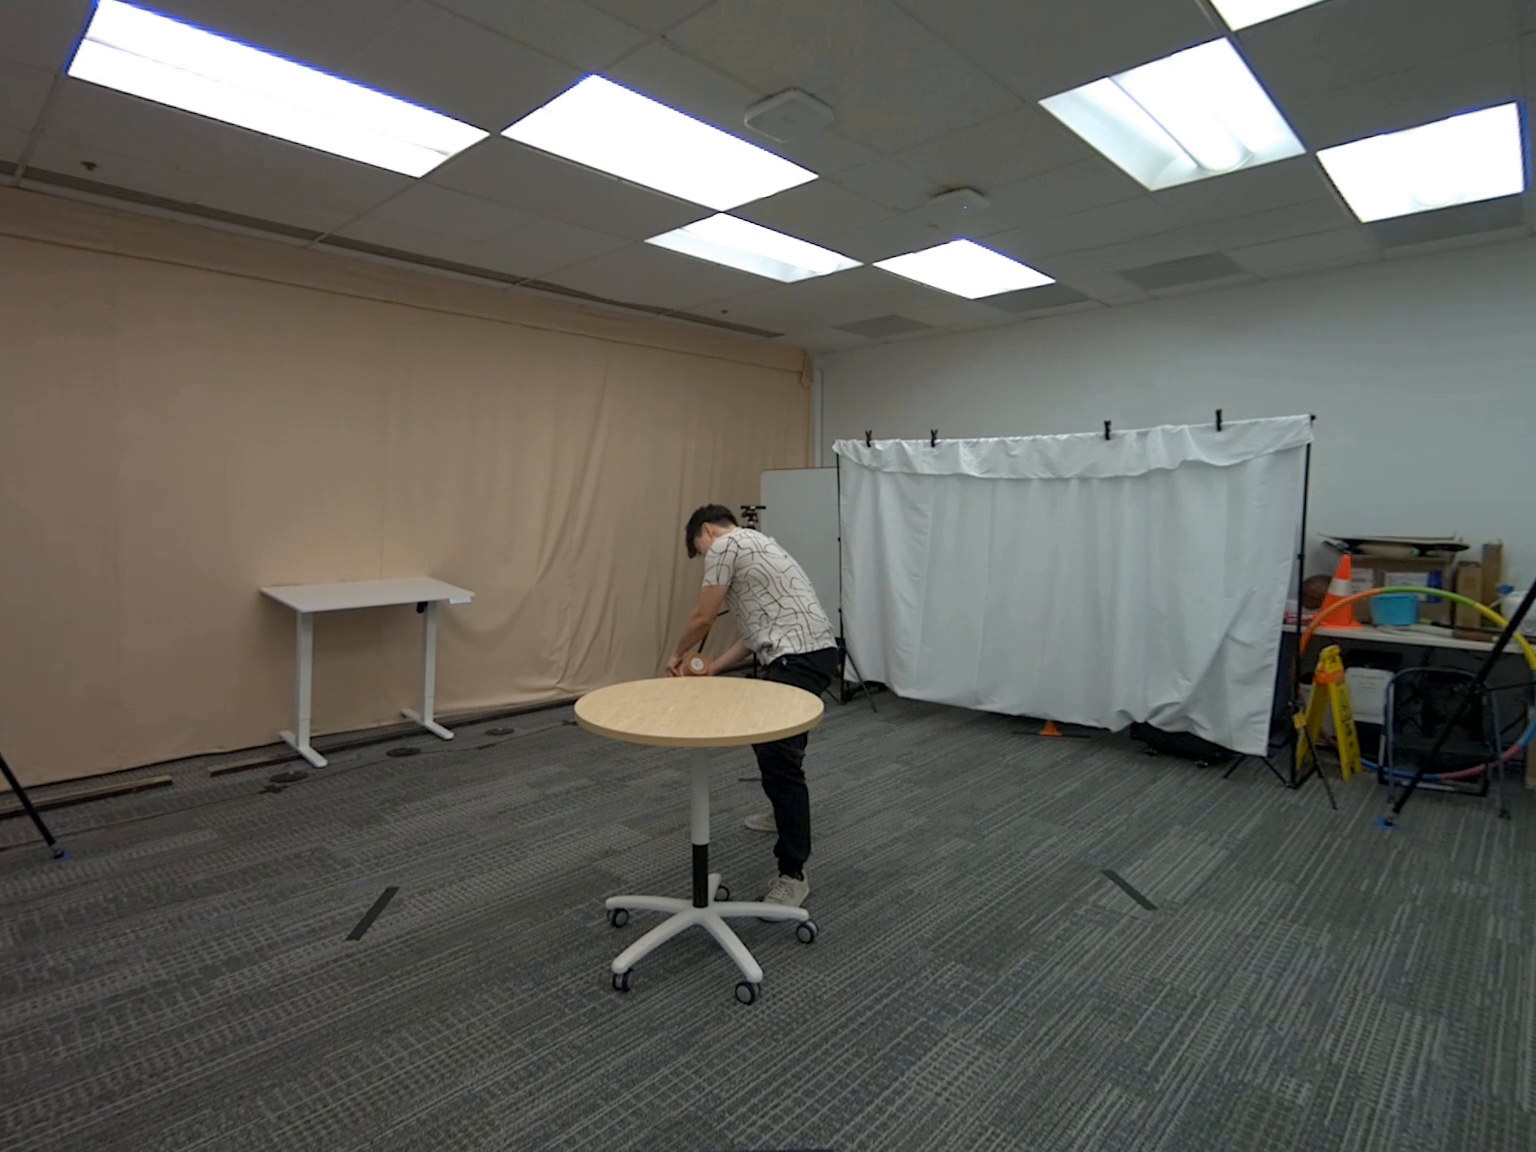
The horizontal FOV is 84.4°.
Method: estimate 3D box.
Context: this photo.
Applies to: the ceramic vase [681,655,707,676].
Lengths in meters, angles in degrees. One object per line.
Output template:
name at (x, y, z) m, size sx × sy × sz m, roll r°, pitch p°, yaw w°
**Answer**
ceramic vase at (-0.325, 0.408, 3.456) m, size 0.131 × 0.162 × 0.221 m, roll 5°, pitch -34°, yaw -29°
